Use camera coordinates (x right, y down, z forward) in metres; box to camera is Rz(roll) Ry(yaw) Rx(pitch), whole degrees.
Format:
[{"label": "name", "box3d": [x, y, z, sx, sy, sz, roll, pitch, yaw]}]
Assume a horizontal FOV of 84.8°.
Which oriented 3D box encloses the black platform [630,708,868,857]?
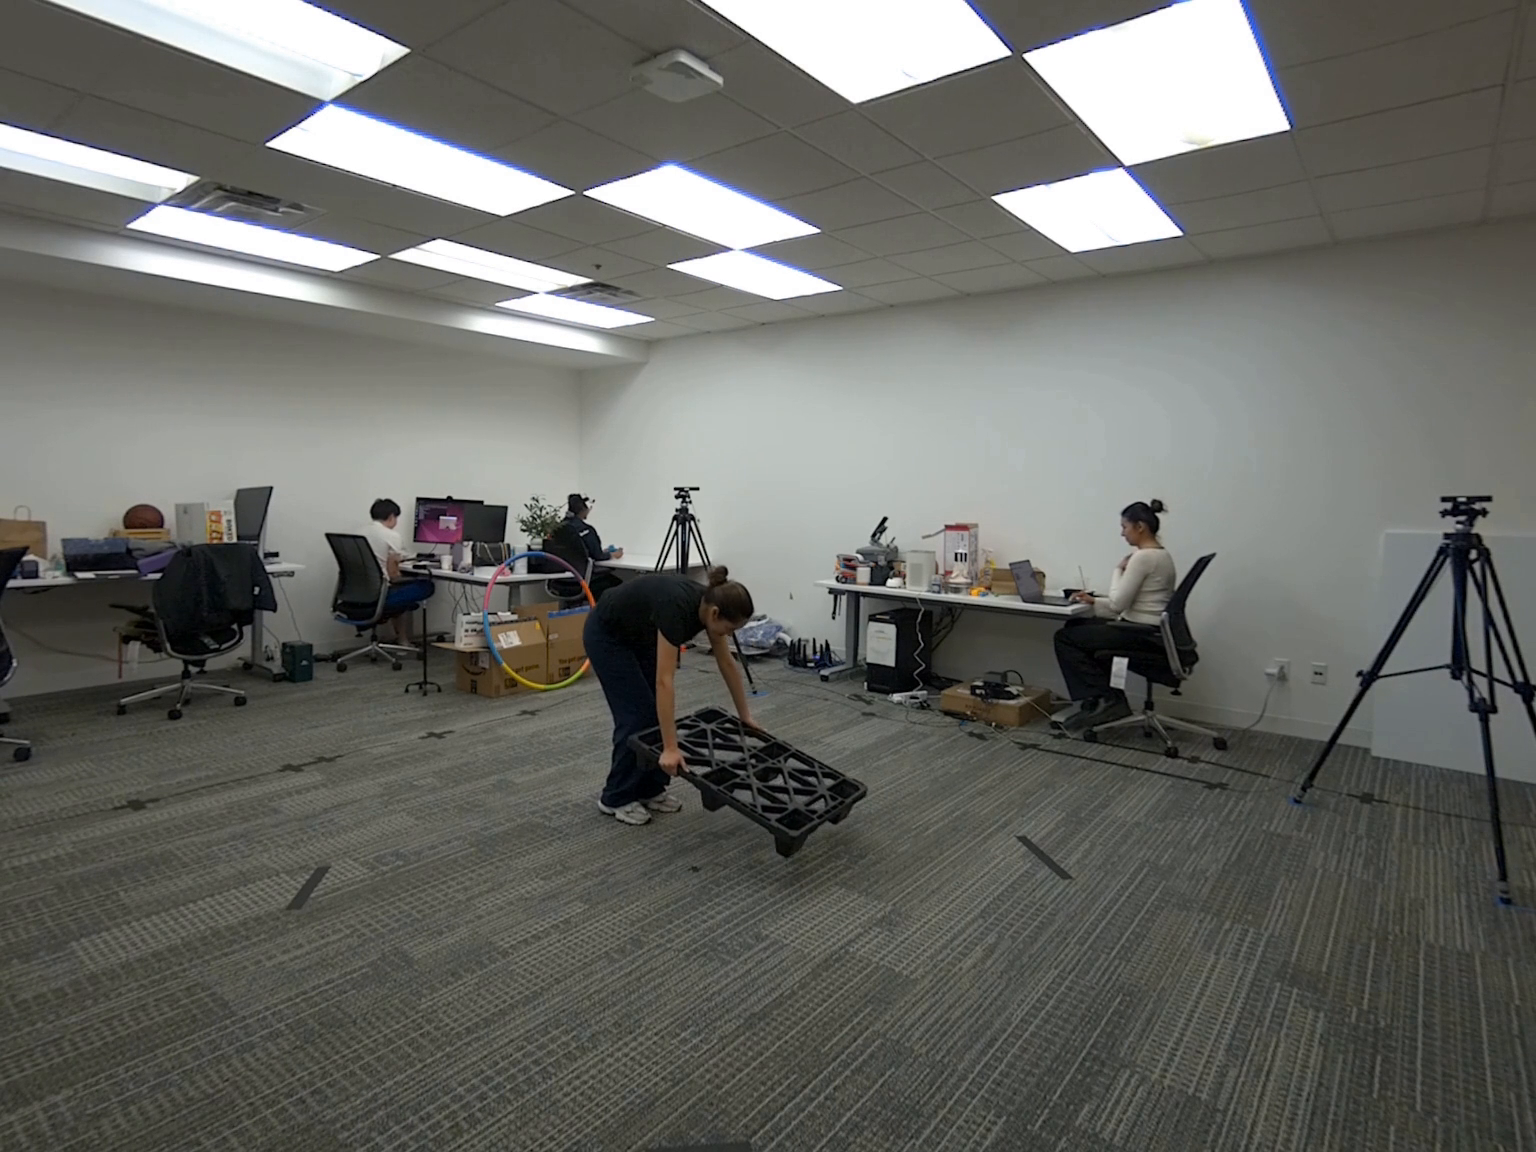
[{"label": "black platform", "box3d": [-0.077, 0.797, 3.415, 0.835, 0.142, 0.588, 23, 16, 31]}]
